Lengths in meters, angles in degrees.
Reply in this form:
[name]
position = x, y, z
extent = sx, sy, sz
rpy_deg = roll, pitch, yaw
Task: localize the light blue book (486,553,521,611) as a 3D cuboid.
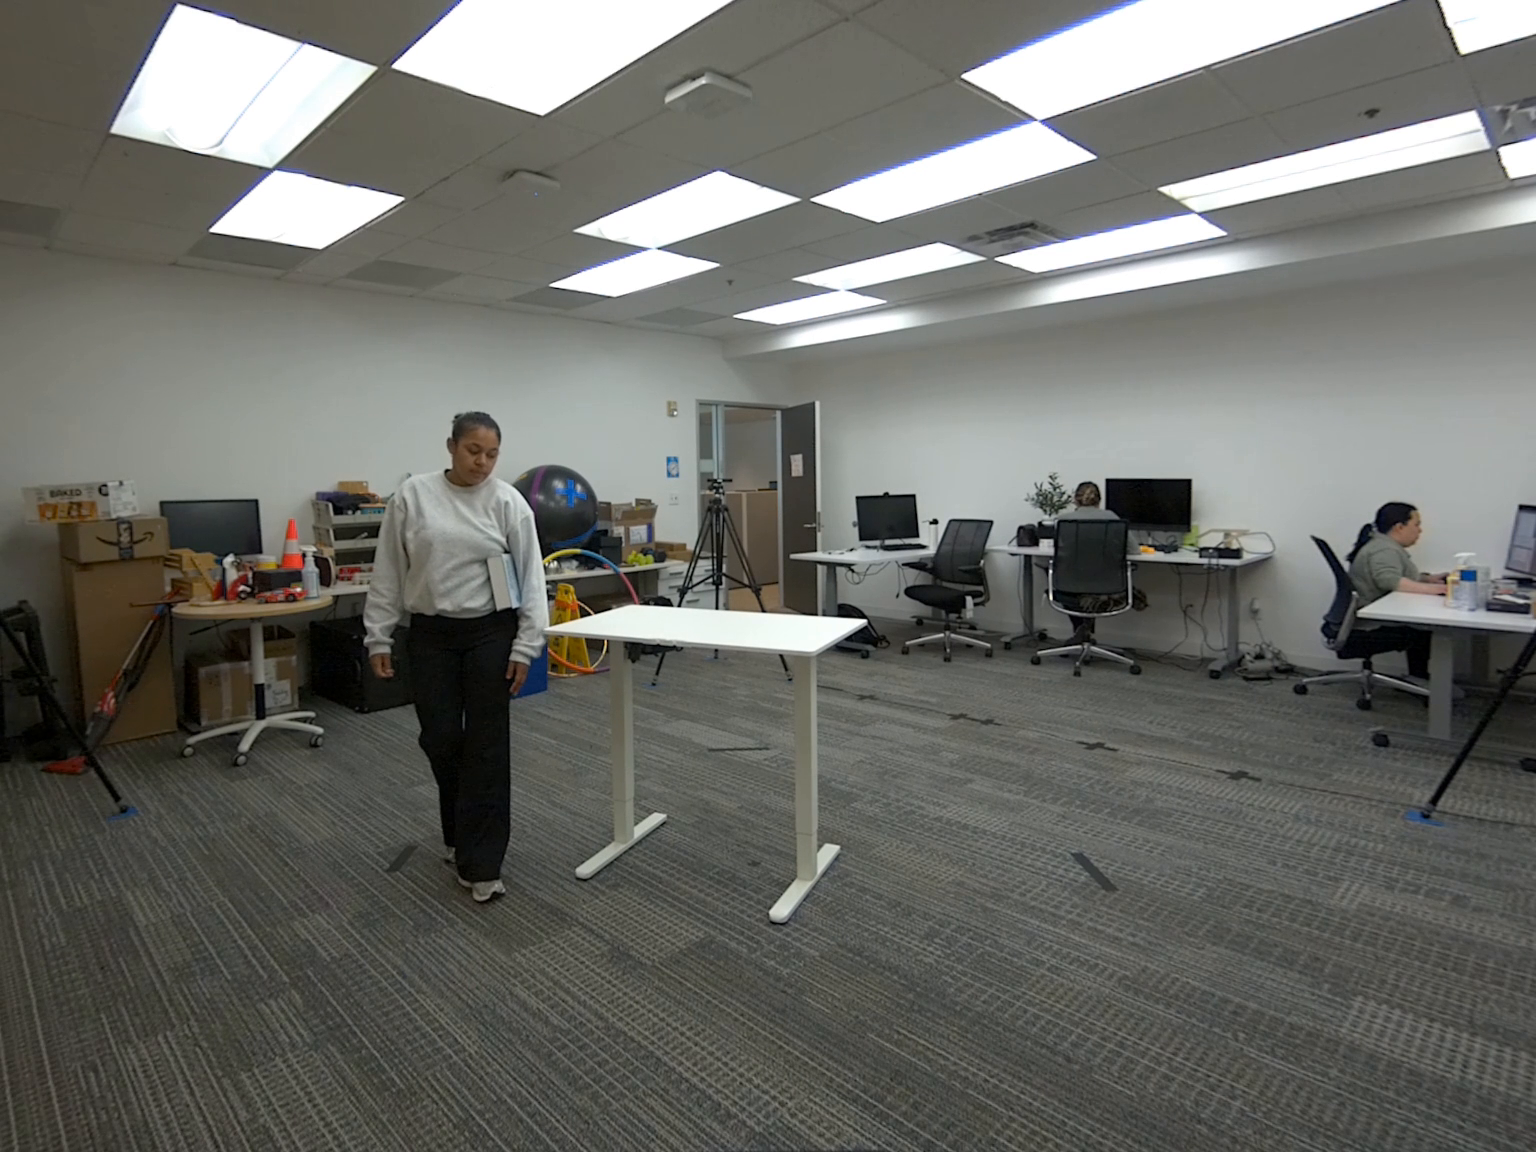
[light blue book]
position = -0.929, 0.016, 3.009
extent = 0.059, 0.190, 0.263
rpy_deg = -13, 5, -8
